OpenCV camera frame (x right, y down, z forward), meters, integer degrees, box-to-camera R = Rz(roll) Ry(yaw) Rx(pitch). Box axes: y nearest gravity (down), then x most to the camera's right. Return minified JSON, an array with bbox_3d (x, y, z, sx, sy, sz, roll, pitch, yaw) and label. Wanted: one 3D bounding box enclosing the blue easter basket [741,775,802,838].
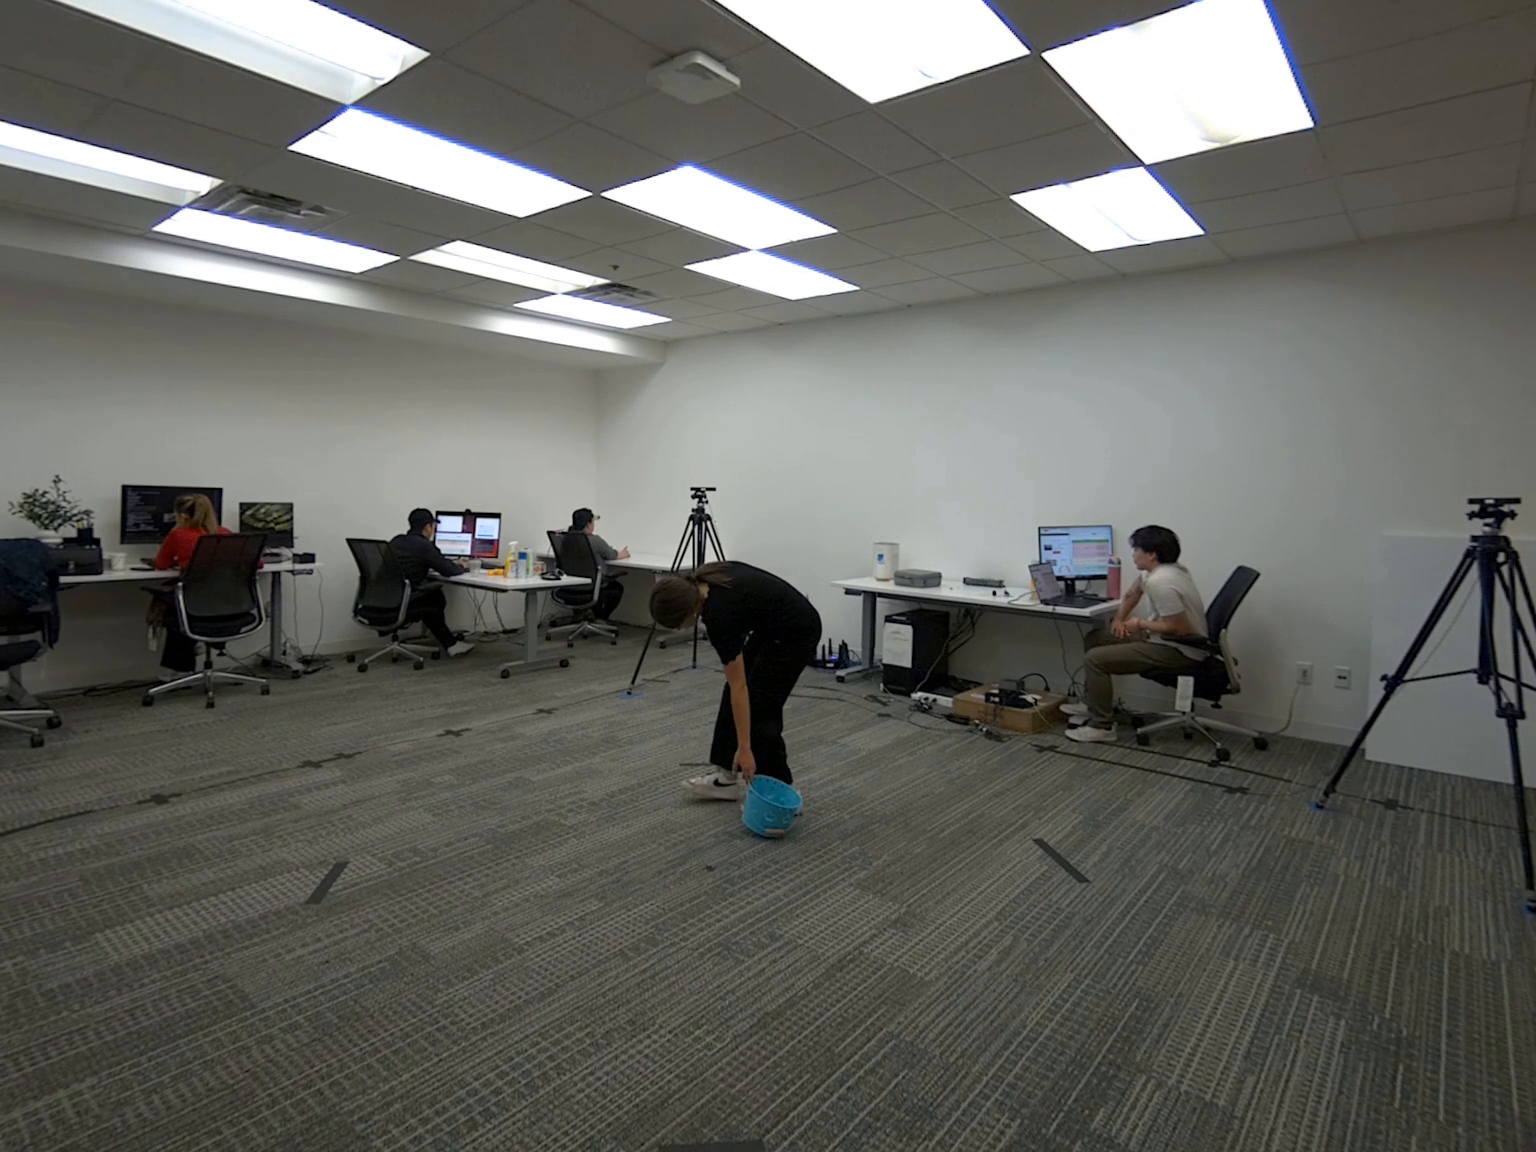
[{"bbox_3d":[-0.007,0.935,3.459,0.242,0.155,0.246,16,10,-5],"label":"blue easter basket"}]
